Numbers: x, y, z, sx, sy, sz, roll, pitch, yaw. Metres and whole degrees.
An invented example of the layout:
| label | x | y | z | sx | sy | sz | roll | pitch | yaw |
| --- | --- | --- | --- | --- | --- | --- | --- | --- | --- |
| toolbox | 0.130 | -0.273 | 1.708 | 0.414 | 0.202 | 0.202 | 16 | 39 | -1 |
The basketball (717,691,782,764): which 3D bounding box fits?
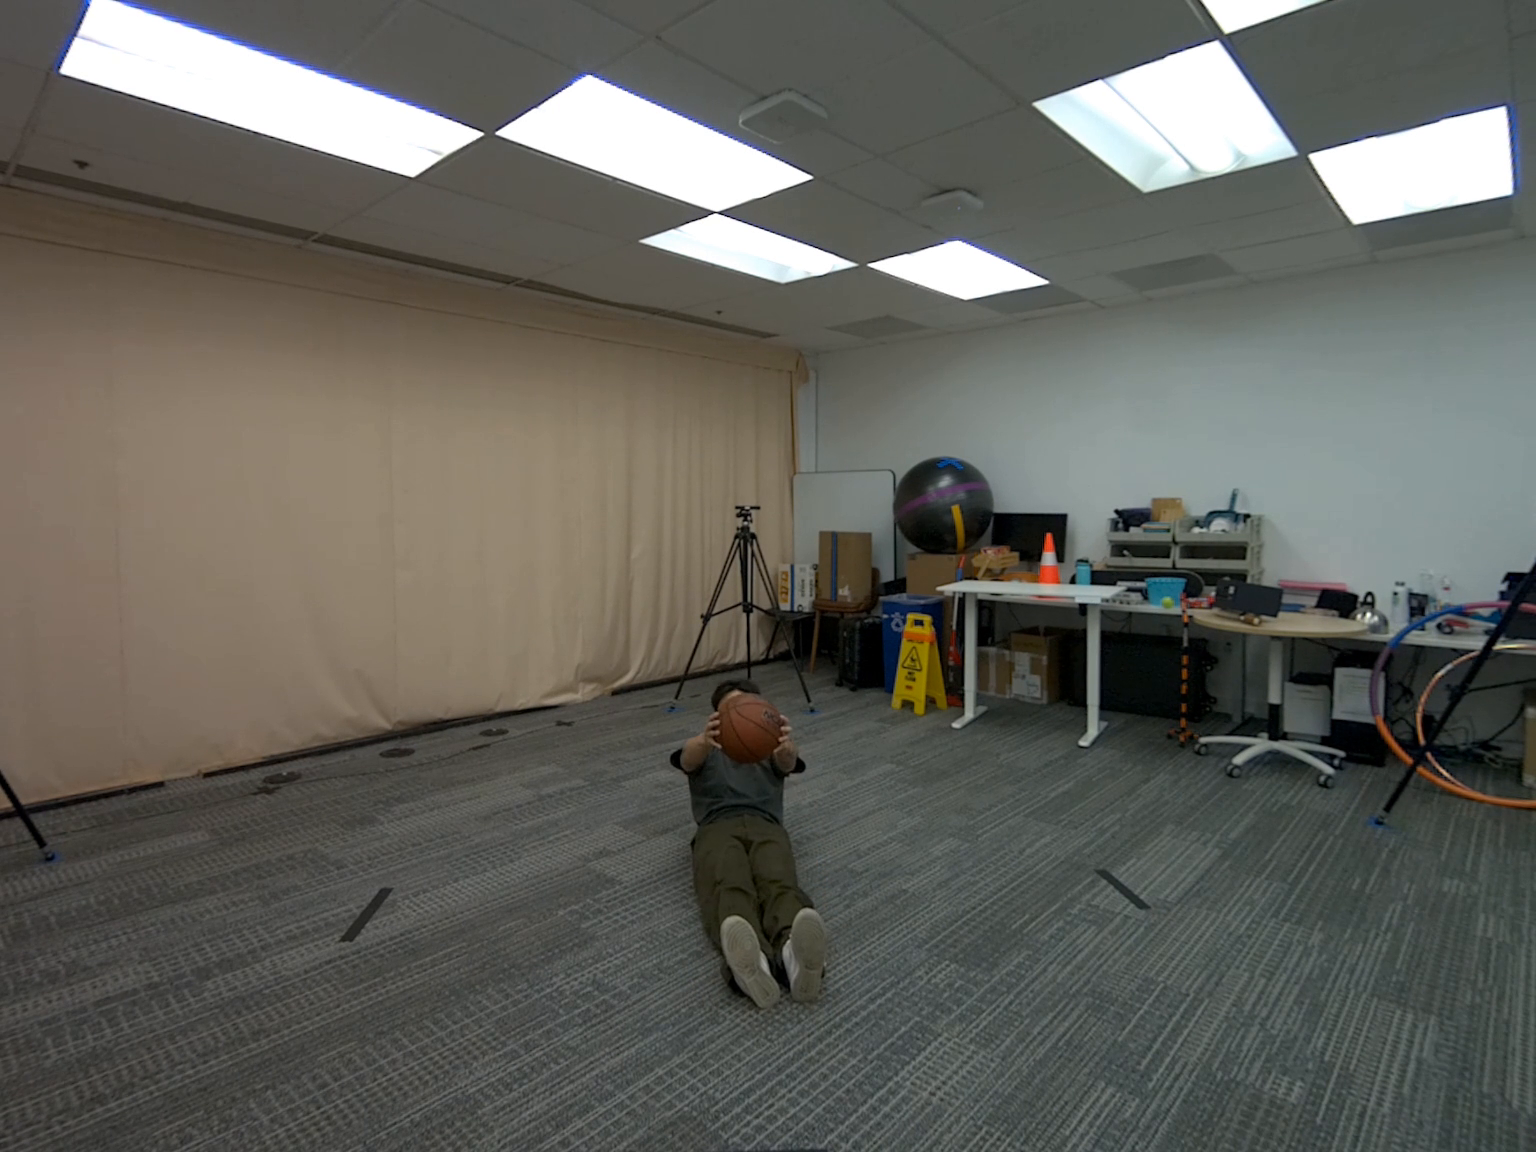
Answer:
| label | x | y | z | sx | sy | sz | roll | pitch | yaw |
| --- | --- | --- | --- | --- | --- | --- | --- | --- | --- |
| basketball | -0.069 | 0.533 | 2.912 | 0.236 | 0.235 | 0.237 | 0 | 4 | -2 |
